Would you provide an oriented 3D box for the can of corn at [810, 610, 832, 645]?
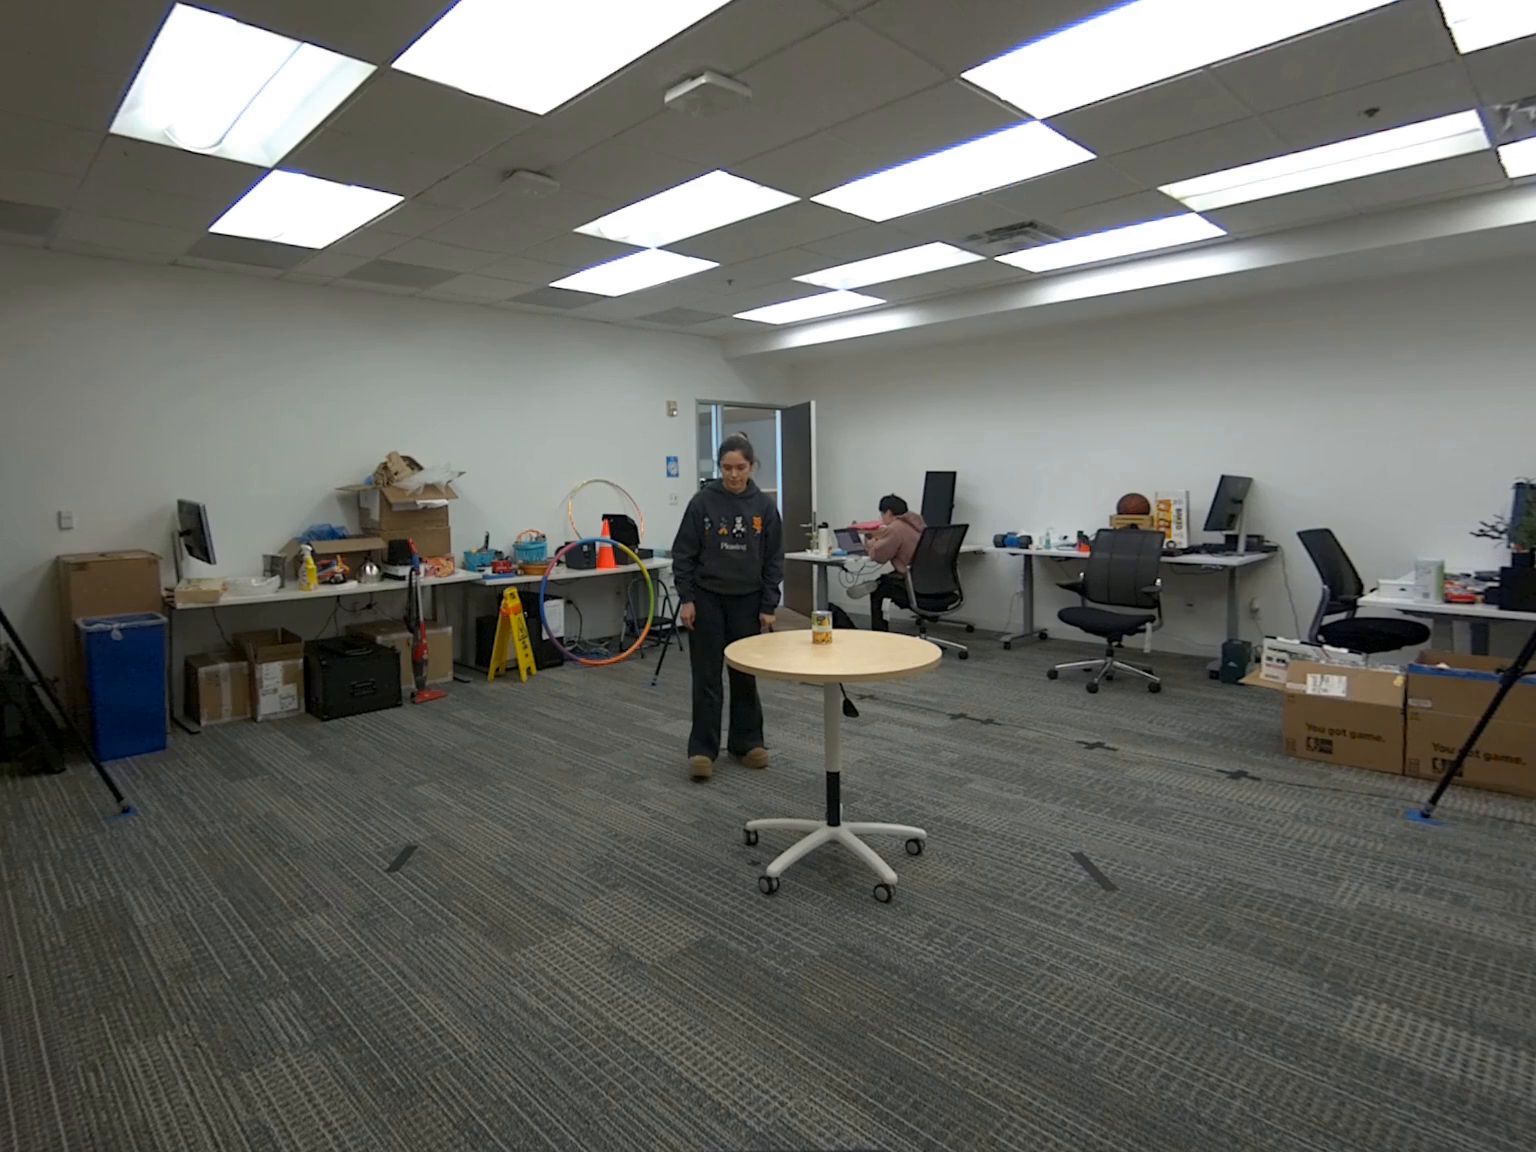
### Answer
[{"bbox_3d":[0.209,0.195,3.173,0.074,0.110,0.075,2,6,-2],"label":"can of corn"}]
